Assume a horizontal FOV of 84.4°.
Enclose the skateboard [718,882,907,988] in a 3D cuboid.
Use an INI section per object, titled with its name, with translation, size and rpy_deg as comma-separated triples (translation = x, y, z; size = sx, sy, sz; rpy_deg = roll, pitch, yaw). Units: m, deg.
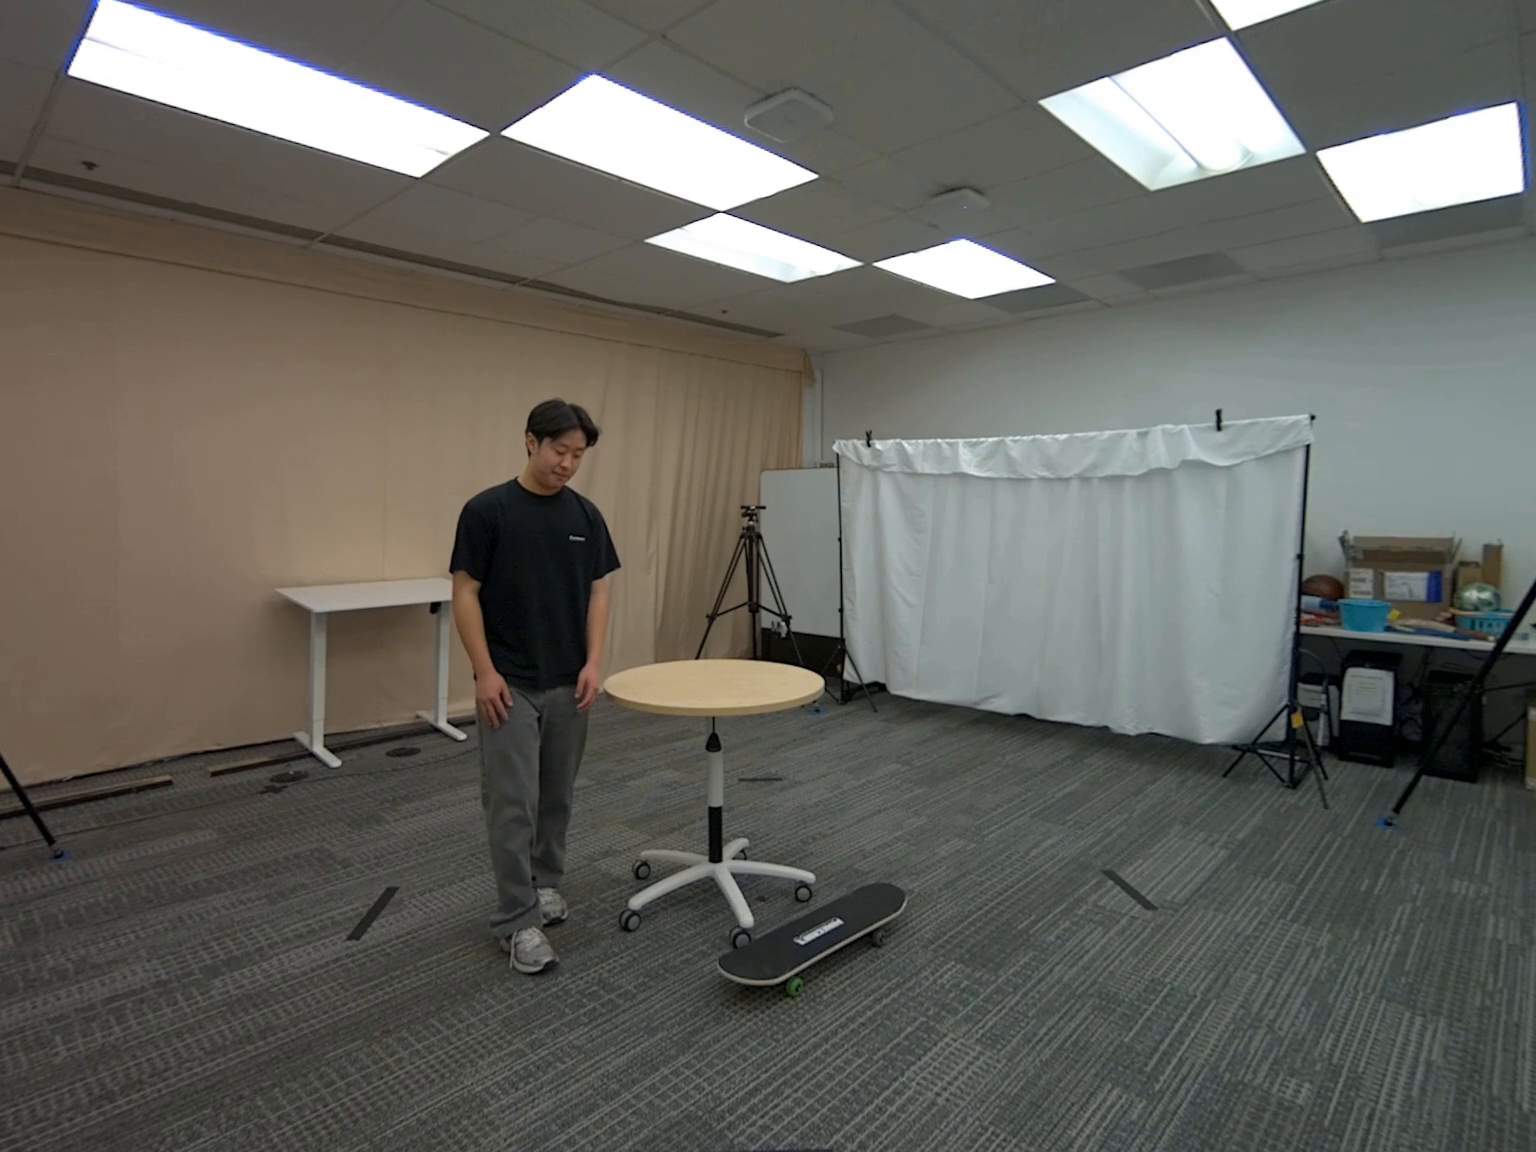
[skateboard]
translation = 0.157, 1.129, 2.575
size = 0.761, 0.110, 0.200
rpy_deg = -4, 5, -44
